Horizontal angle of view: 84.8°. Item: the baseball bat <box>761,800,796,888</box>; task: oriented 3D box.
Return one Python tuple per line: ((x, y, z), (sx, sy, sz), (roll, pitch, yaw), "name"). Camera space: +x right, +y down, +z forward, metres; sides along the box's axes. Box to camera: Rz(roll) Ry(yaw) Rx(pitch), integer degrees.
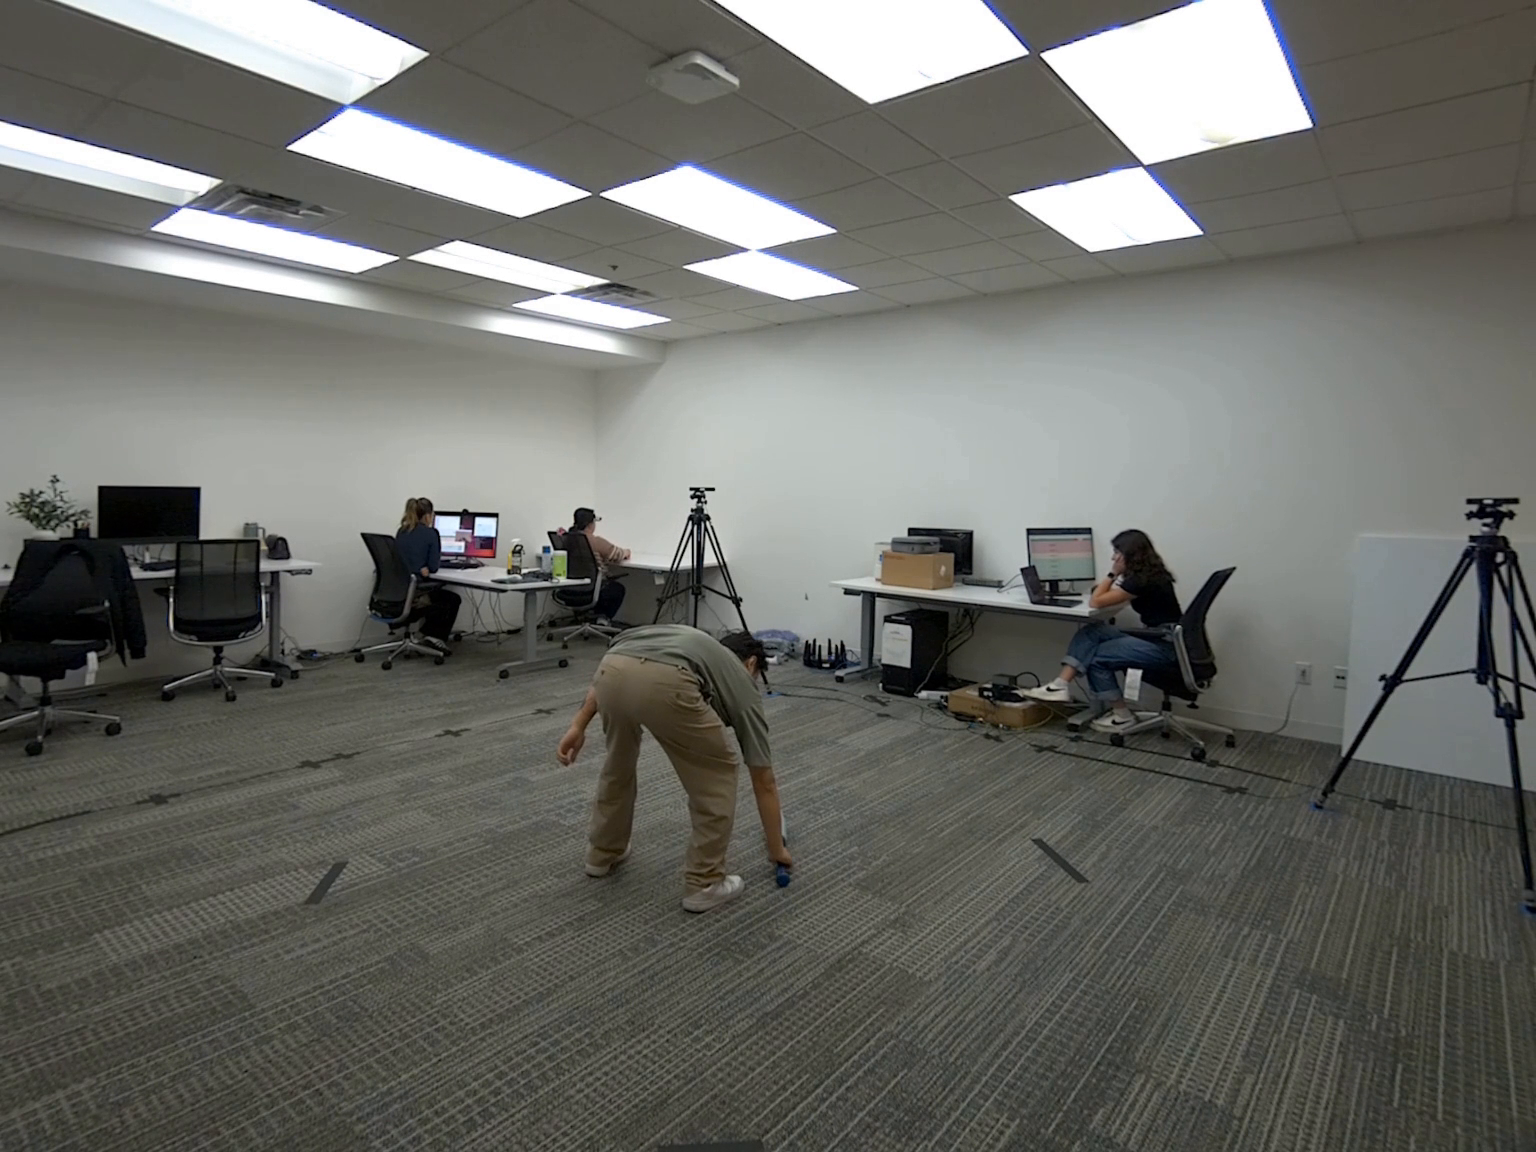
((0.033, 1.016, 3.235), (0.089, 0.088, 0.547), (1, 8, -3), "baseball bat")
